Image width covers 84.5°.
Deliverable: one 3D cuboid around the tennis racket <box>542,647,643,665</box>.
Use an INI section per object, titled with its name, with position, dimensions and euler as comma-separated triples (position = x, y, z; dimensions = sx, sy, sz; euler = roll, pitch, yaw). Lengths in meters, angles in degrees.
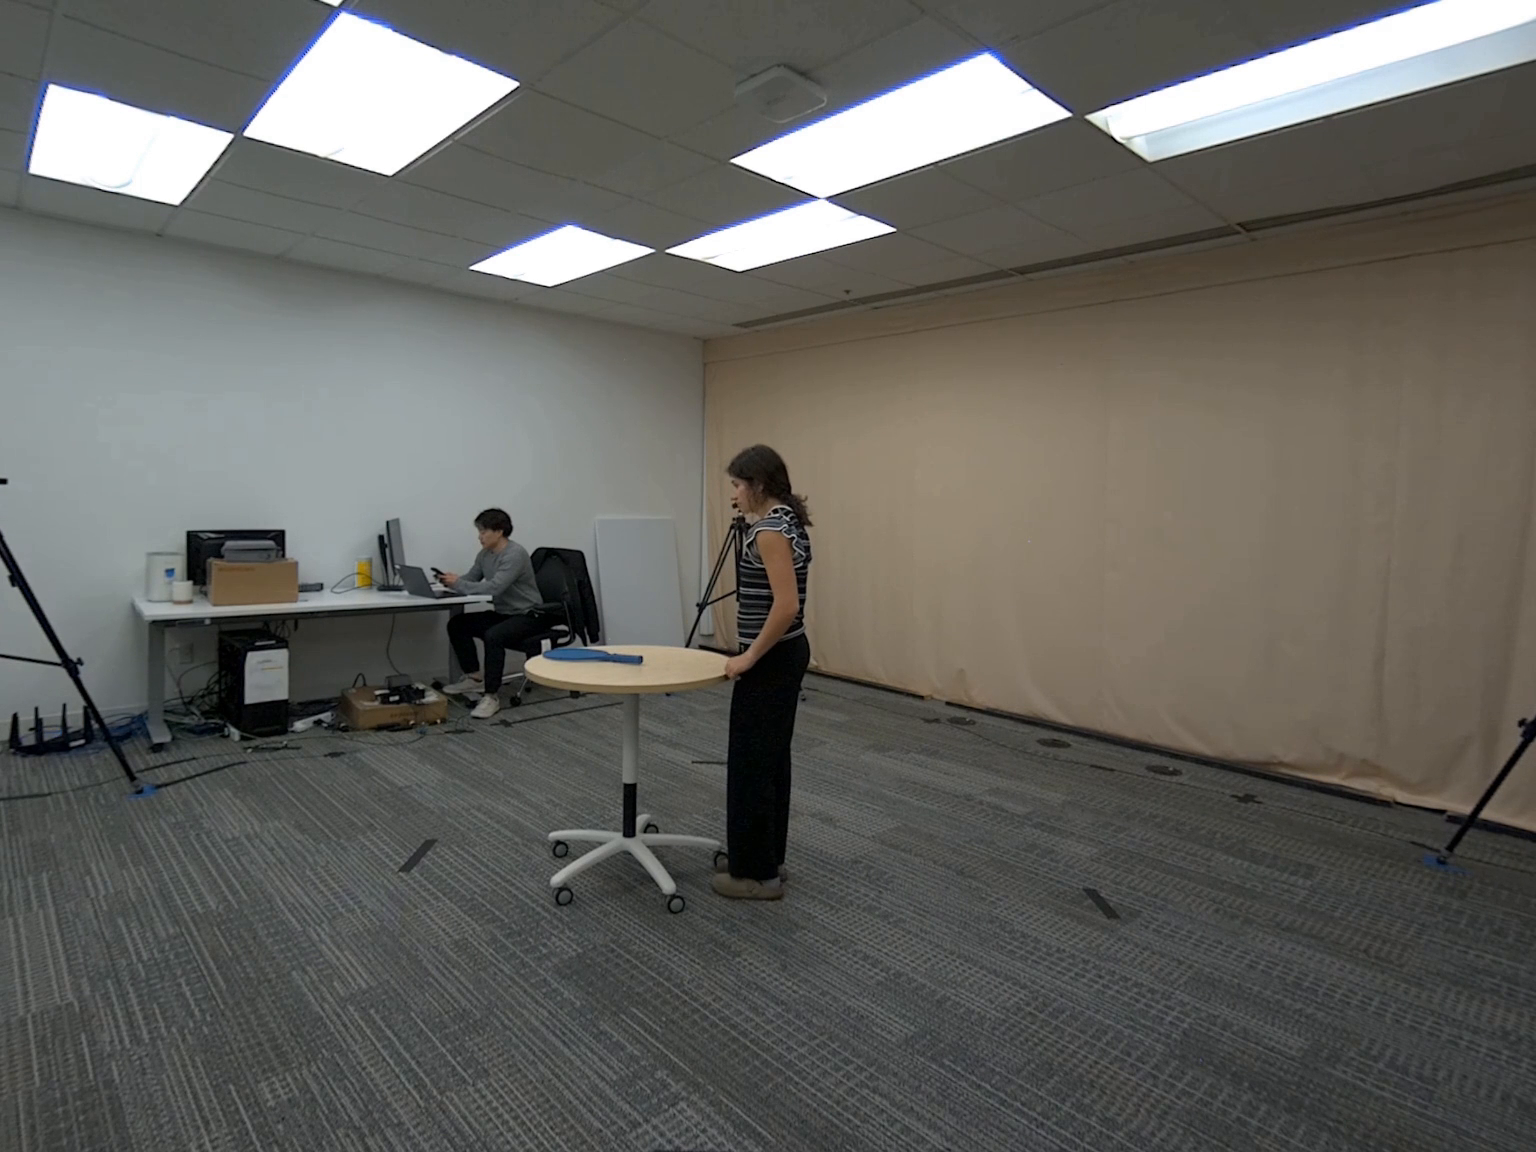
[tennis racket]
position = -0.659, 0.299, 3.134
dimensions = 0.441, 0.031, 0.210
euler = 2, 6, 25
